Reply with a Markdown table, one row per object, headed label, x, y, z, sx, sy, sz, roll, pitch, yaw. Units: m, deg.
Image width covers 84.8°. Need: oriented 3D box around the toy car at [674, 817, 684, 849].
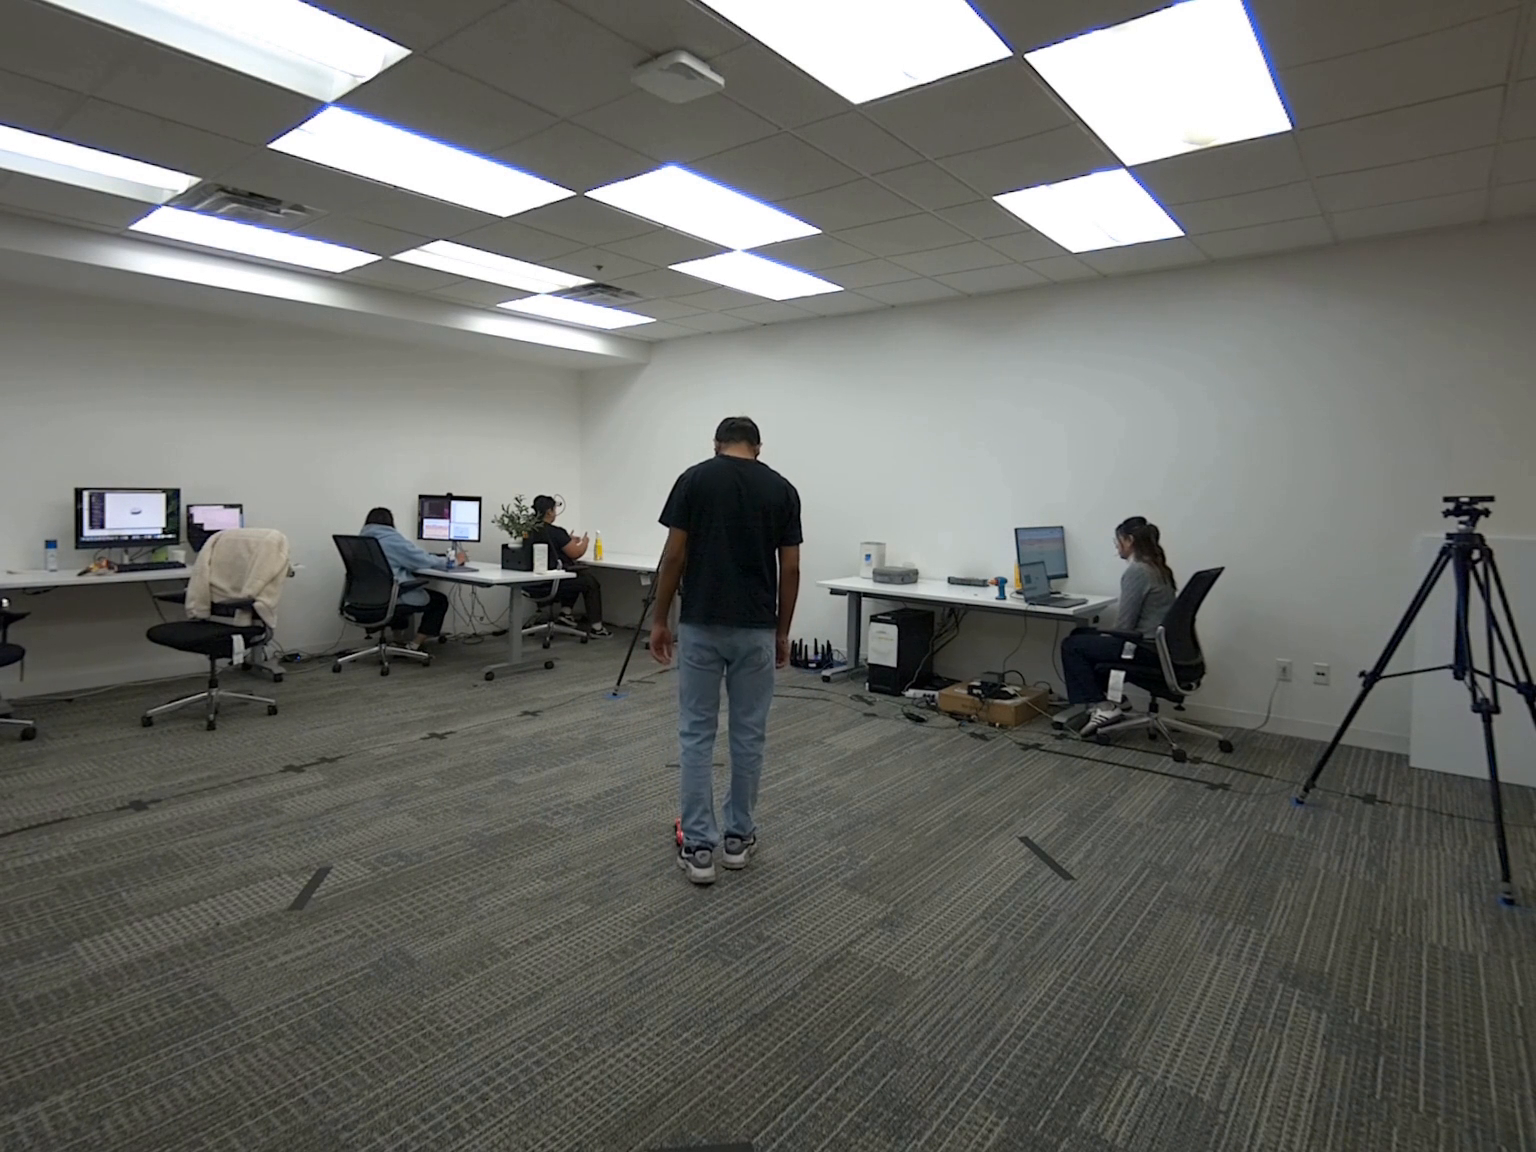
| label | x | y | z | sx | sy | sz | roll | pitch | yaw |
| --- | --- | --- | --- | --- | --- | --- | --- | --- | --- |
| toy car | -0.314 | 1.001 | 3.364 | 0.129 | 0.084 | 0.254 | 2 | -7 | -6 |
